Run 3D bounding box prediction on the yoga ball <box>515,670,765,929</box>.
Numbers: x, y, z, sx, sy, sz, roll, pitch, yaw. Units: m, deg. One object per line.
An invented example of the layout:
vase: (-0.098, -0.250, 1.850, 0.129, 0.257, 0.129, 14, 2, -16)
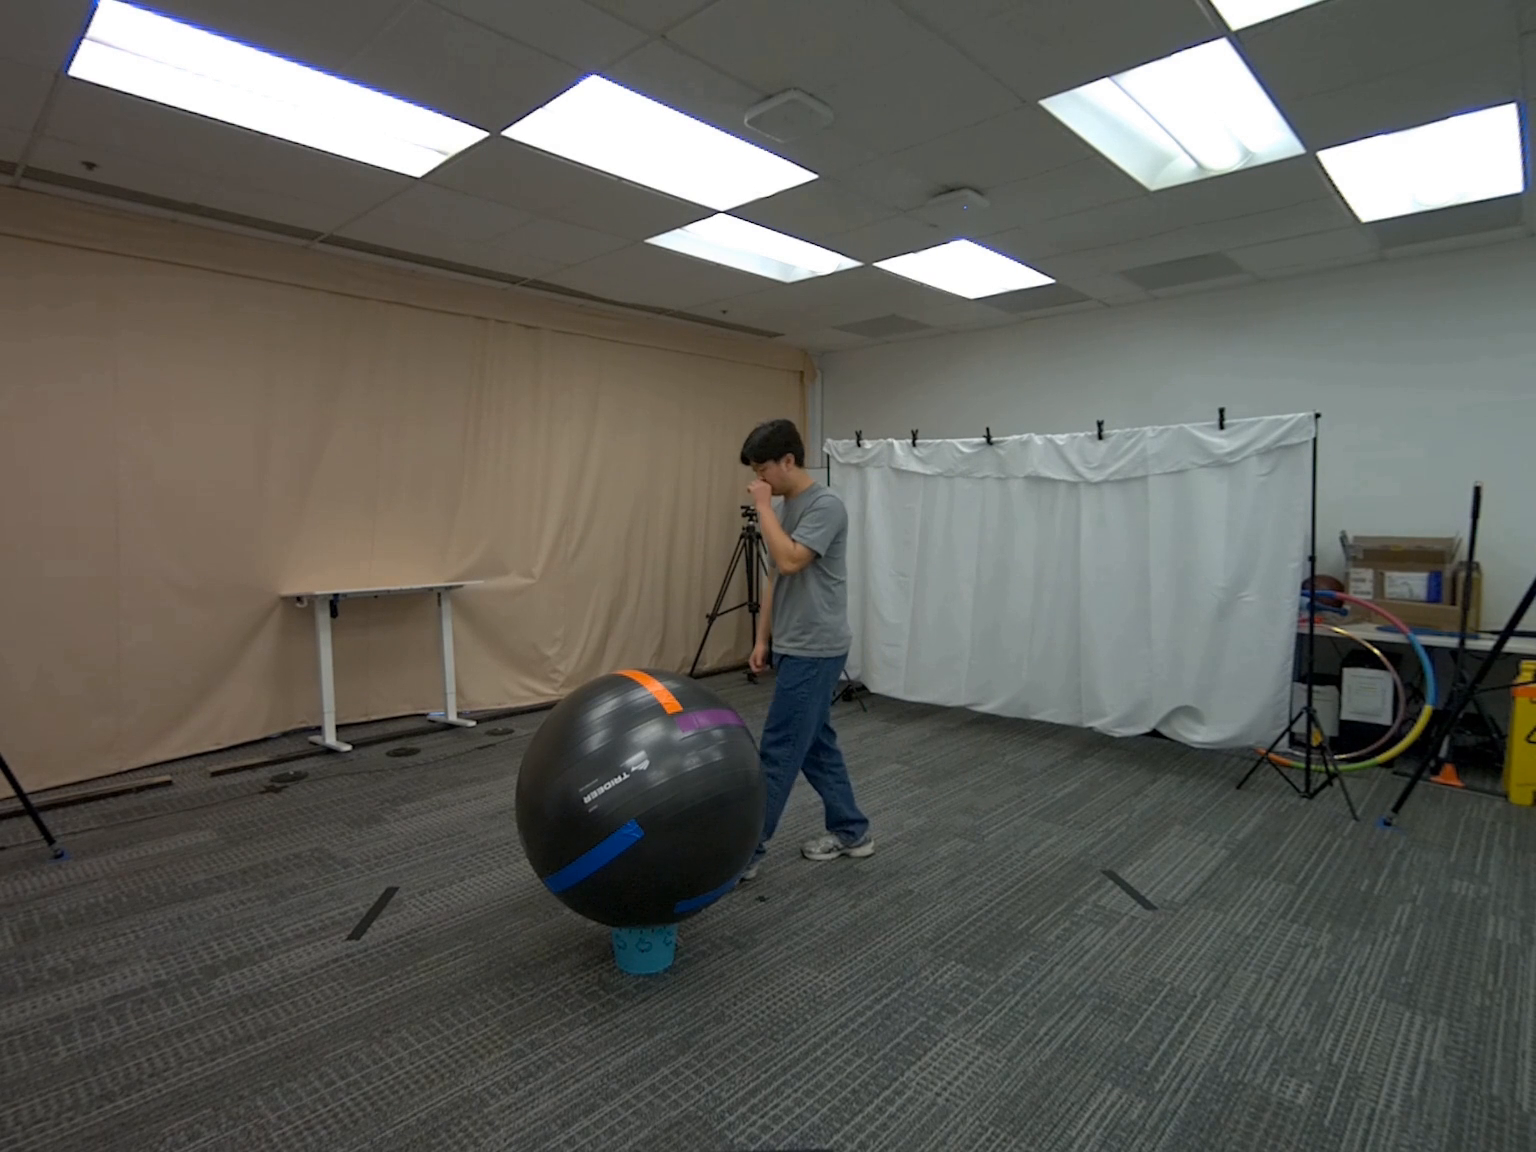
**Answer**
yoga ball: (-0.396, 0.671, 2.568, 0.757, 0.756, 0.761, 0, 4, -2)
